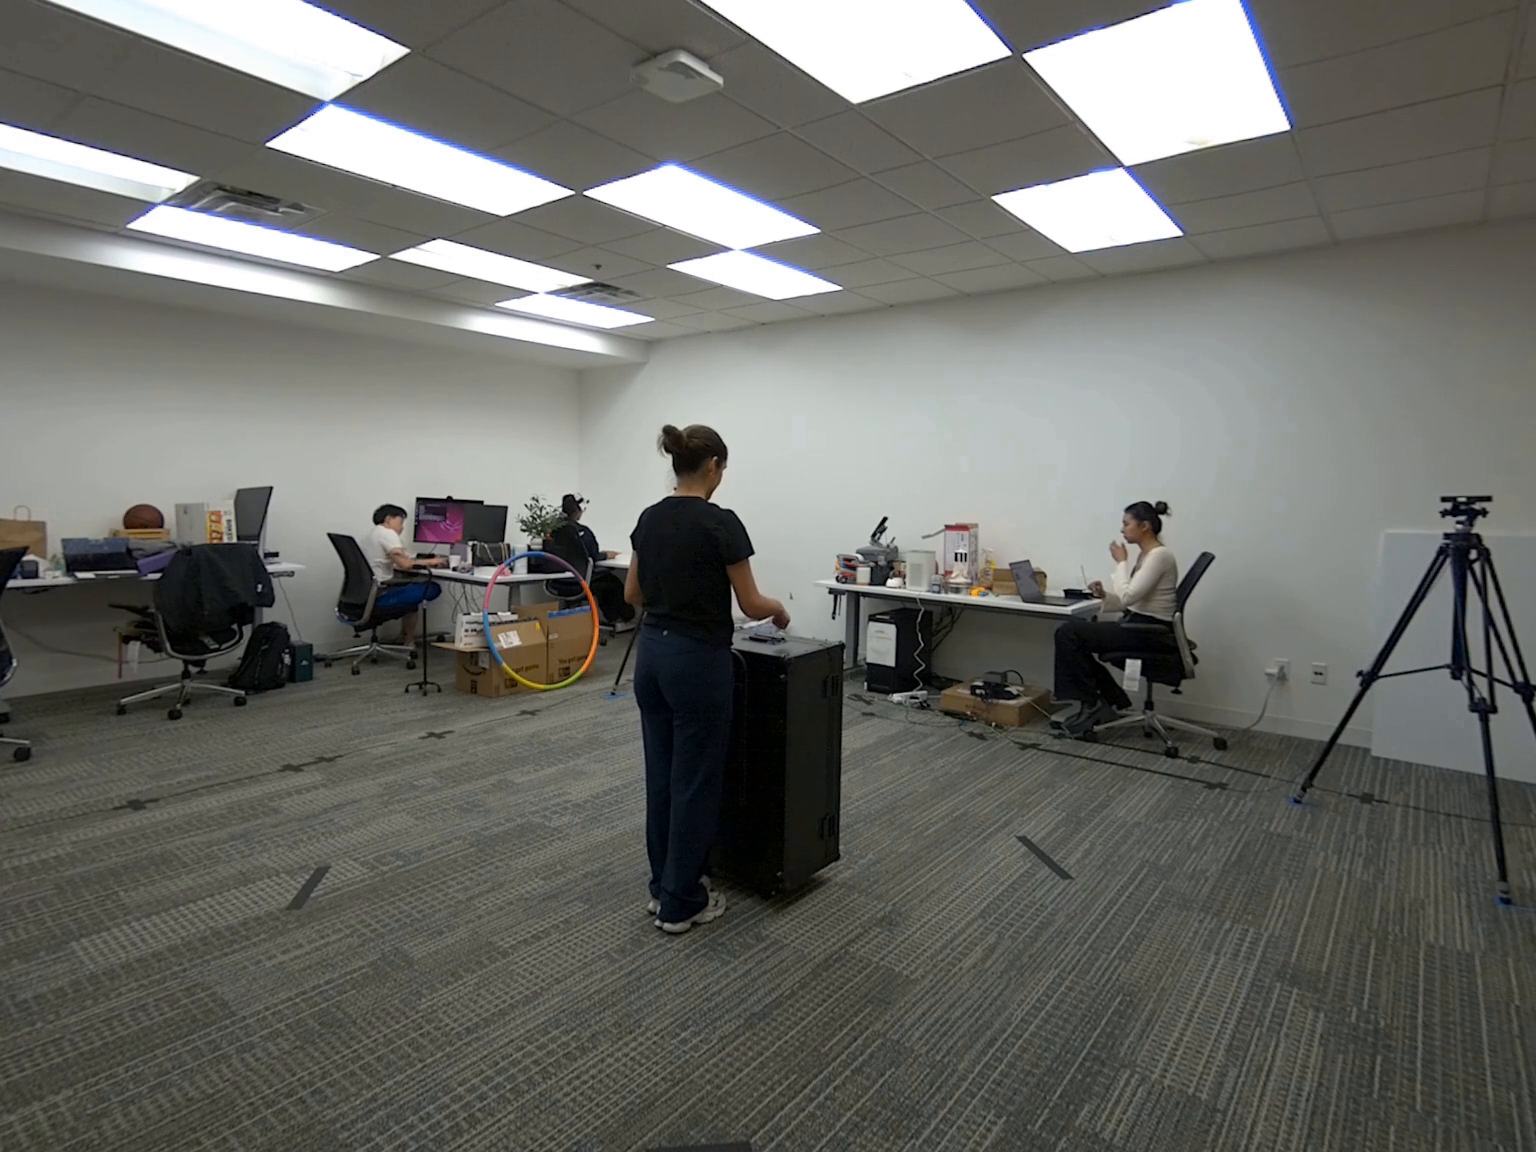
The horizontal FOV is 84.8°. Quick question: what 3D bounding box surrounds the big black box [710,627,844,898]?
[{"bbox_3d":[-0.021,0.648,3.040,0.538,0.858,0.385,4,5,38],"label":"big black box"}]
